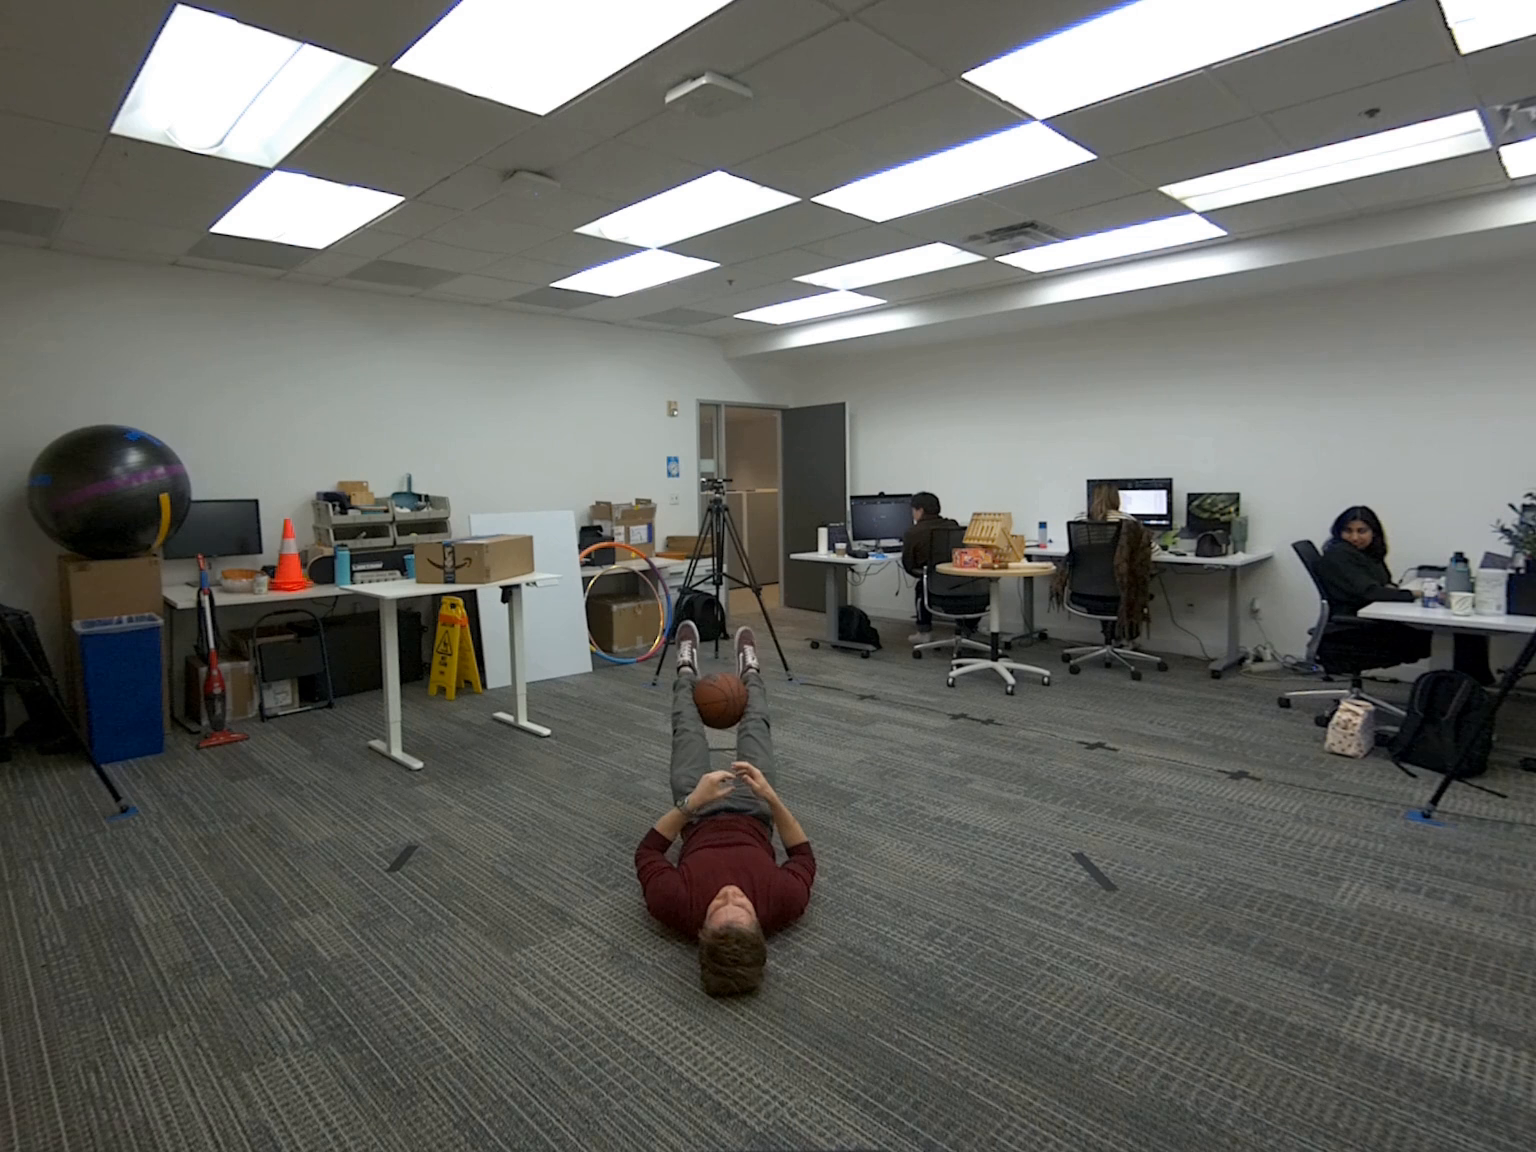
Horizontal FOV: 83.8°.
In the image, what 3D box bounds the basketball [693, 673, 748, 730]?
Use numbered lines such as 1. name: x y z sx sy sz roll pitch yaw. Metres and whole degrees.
1. basketball: -0.188 0.531 3.584 0.236 0.235 0.237 -1 5 -2
